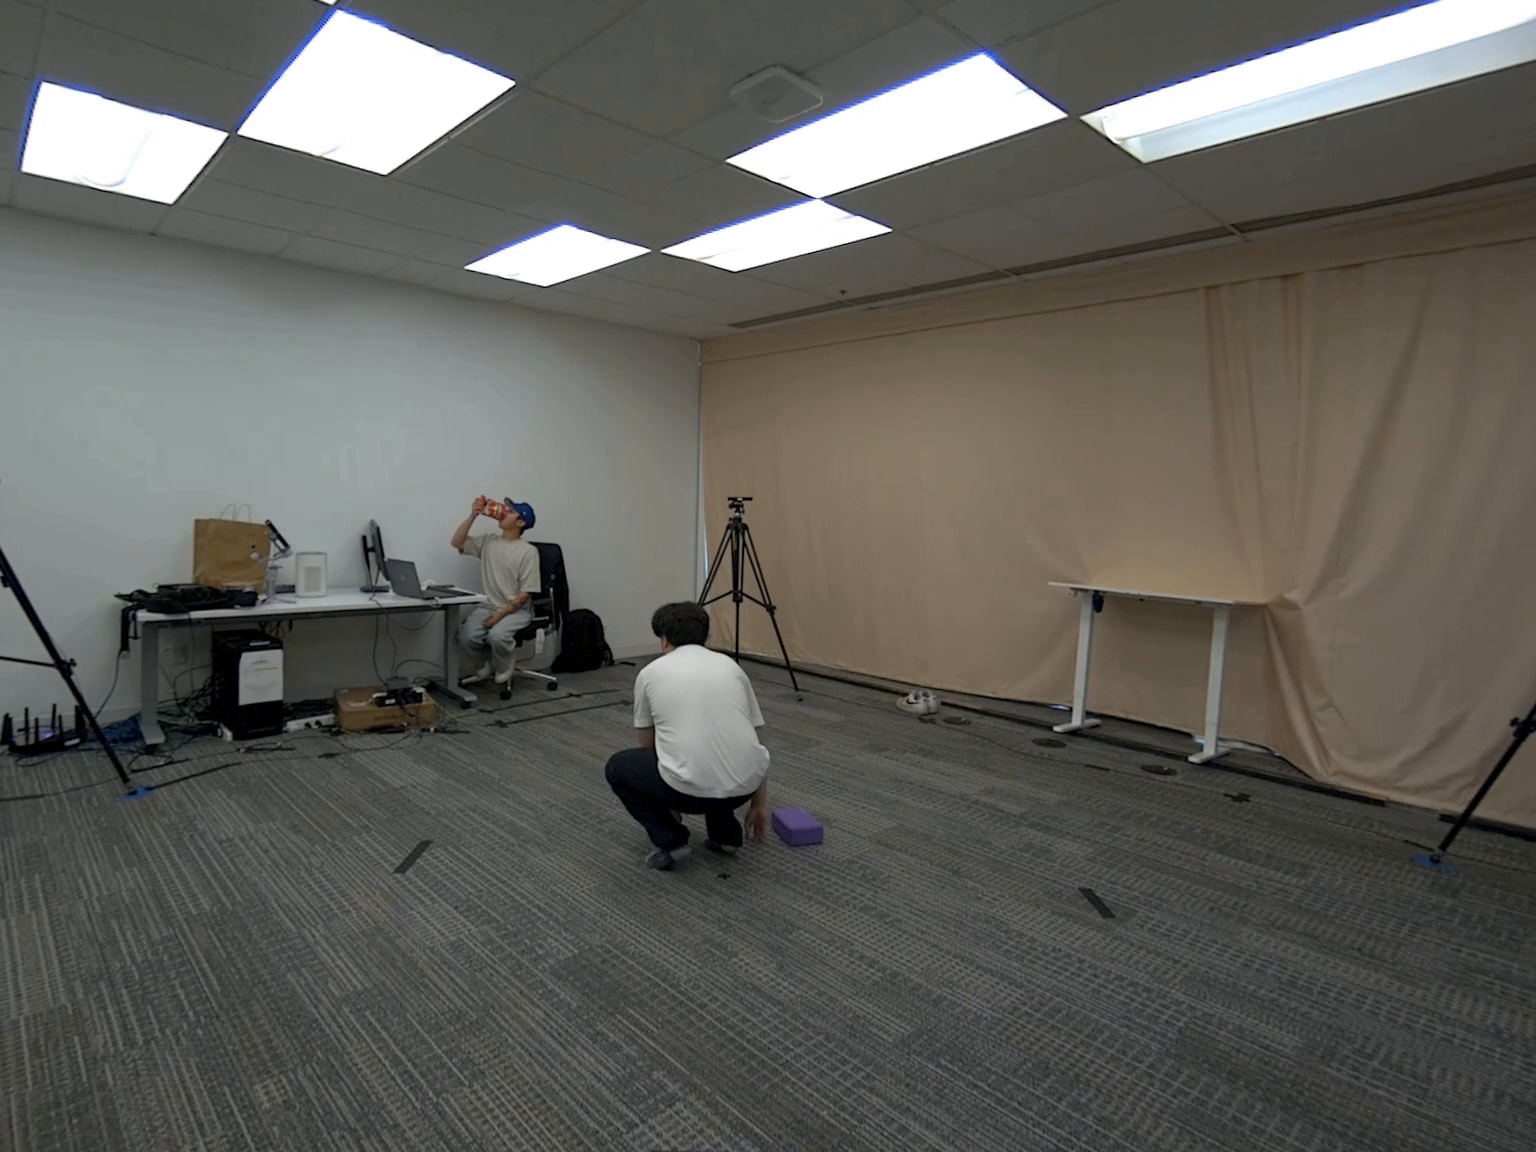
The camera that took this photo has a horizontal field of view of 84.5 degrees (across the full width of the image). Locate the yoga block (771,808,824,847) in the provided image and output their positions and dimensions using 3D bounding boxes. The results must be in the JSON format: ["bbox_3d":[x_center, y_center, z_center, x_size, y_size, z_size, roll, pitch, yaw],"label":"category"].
[{"bbox_3d":[0.108,1.037,3.502,0.147,0.076,0.233,-1,5,-19],"label":"yoga block"}]
